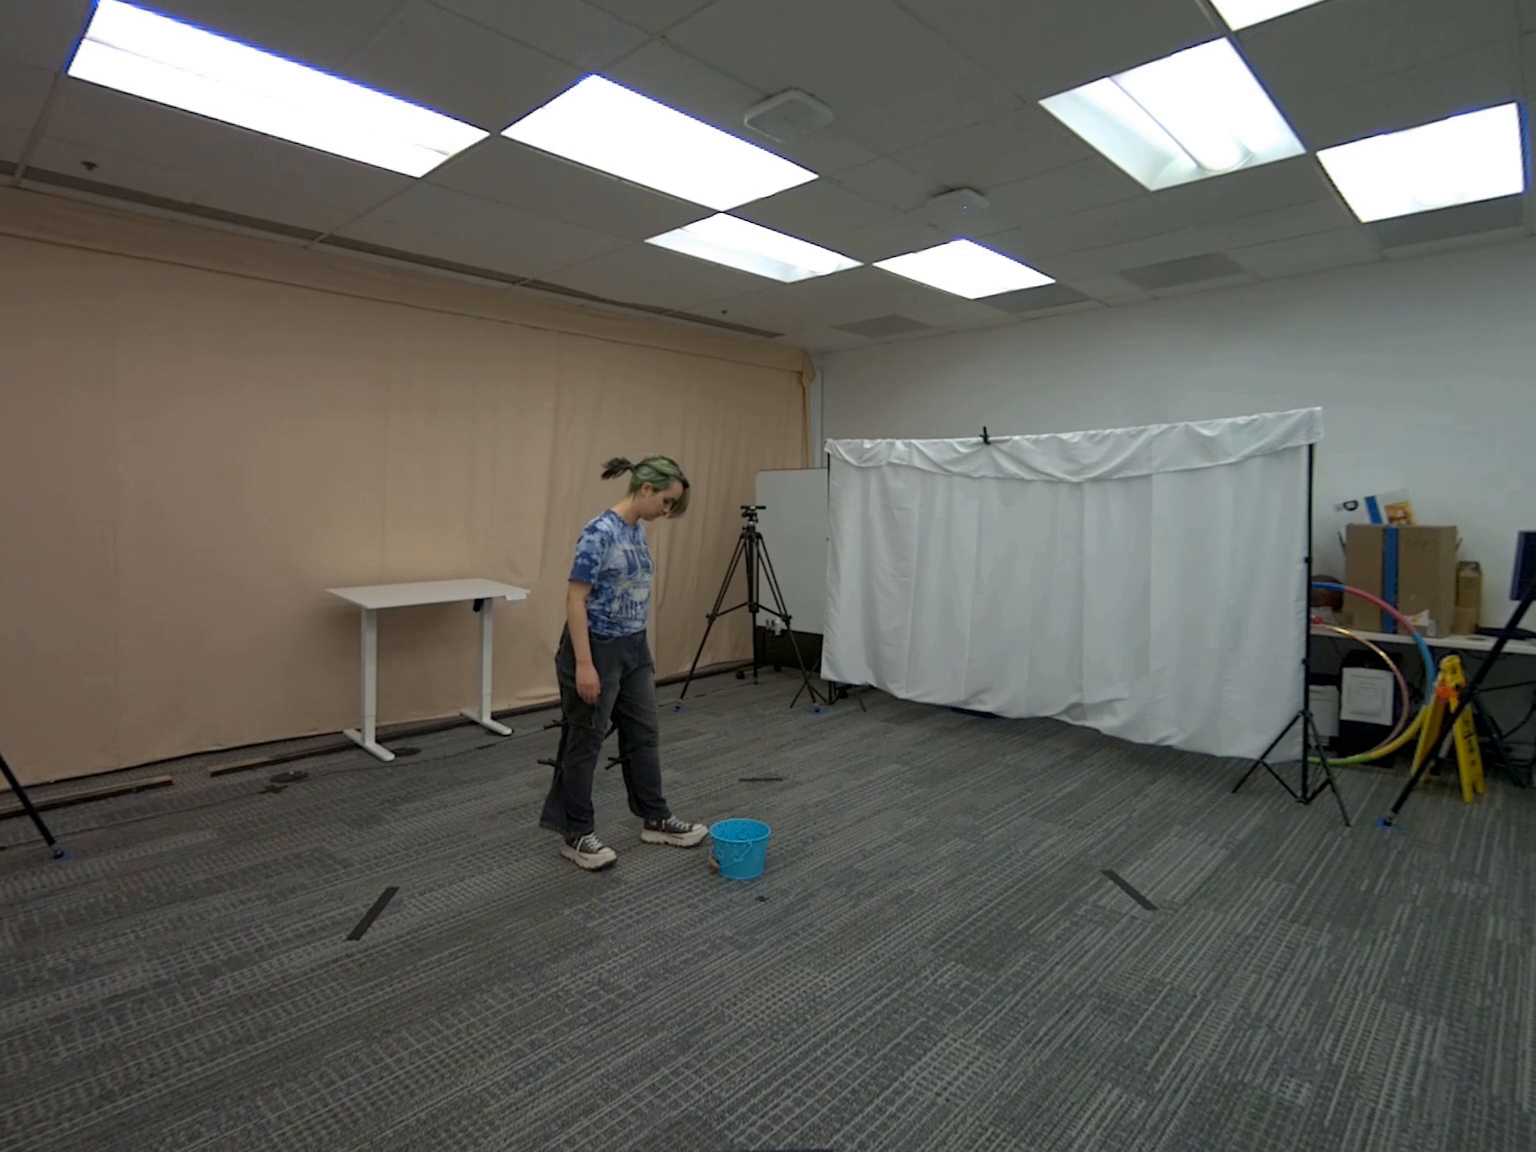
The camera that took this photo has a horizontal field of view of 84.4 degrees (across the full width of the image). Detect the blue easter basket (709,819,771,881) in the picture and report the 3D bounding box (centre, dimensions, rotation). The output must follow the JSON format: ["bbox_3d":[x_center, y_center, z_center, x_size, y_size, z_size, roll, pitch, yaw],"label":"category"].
[{"bbox_3d":[-0.104,1.042,3.229,0.243,0.155,0.244,0,4,-2],"label":"blue easter basket"}]
